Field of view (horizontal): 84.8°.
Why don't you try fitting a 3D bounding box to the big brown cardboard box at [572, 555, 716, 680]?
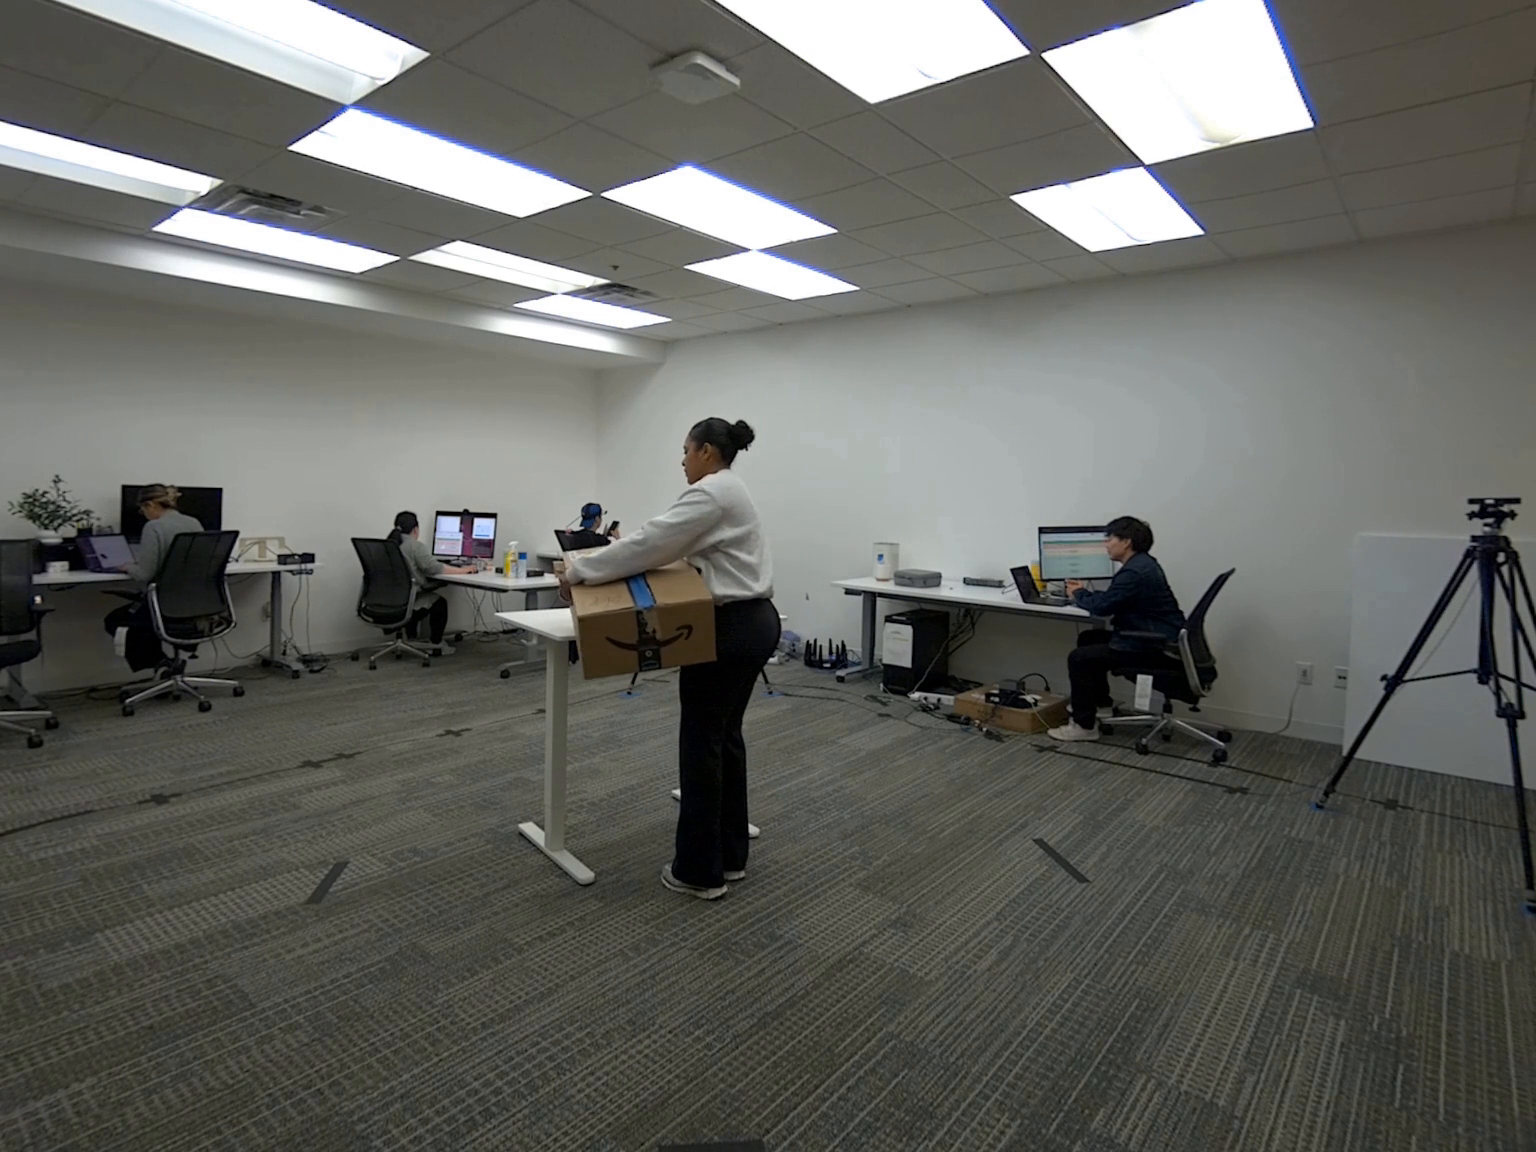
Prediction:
[{"bbox_3d":[-0.453,0.090,2.841,0.413,0.229,0.607,-7,22,-13],"label":"big brown cardboard box"}]
